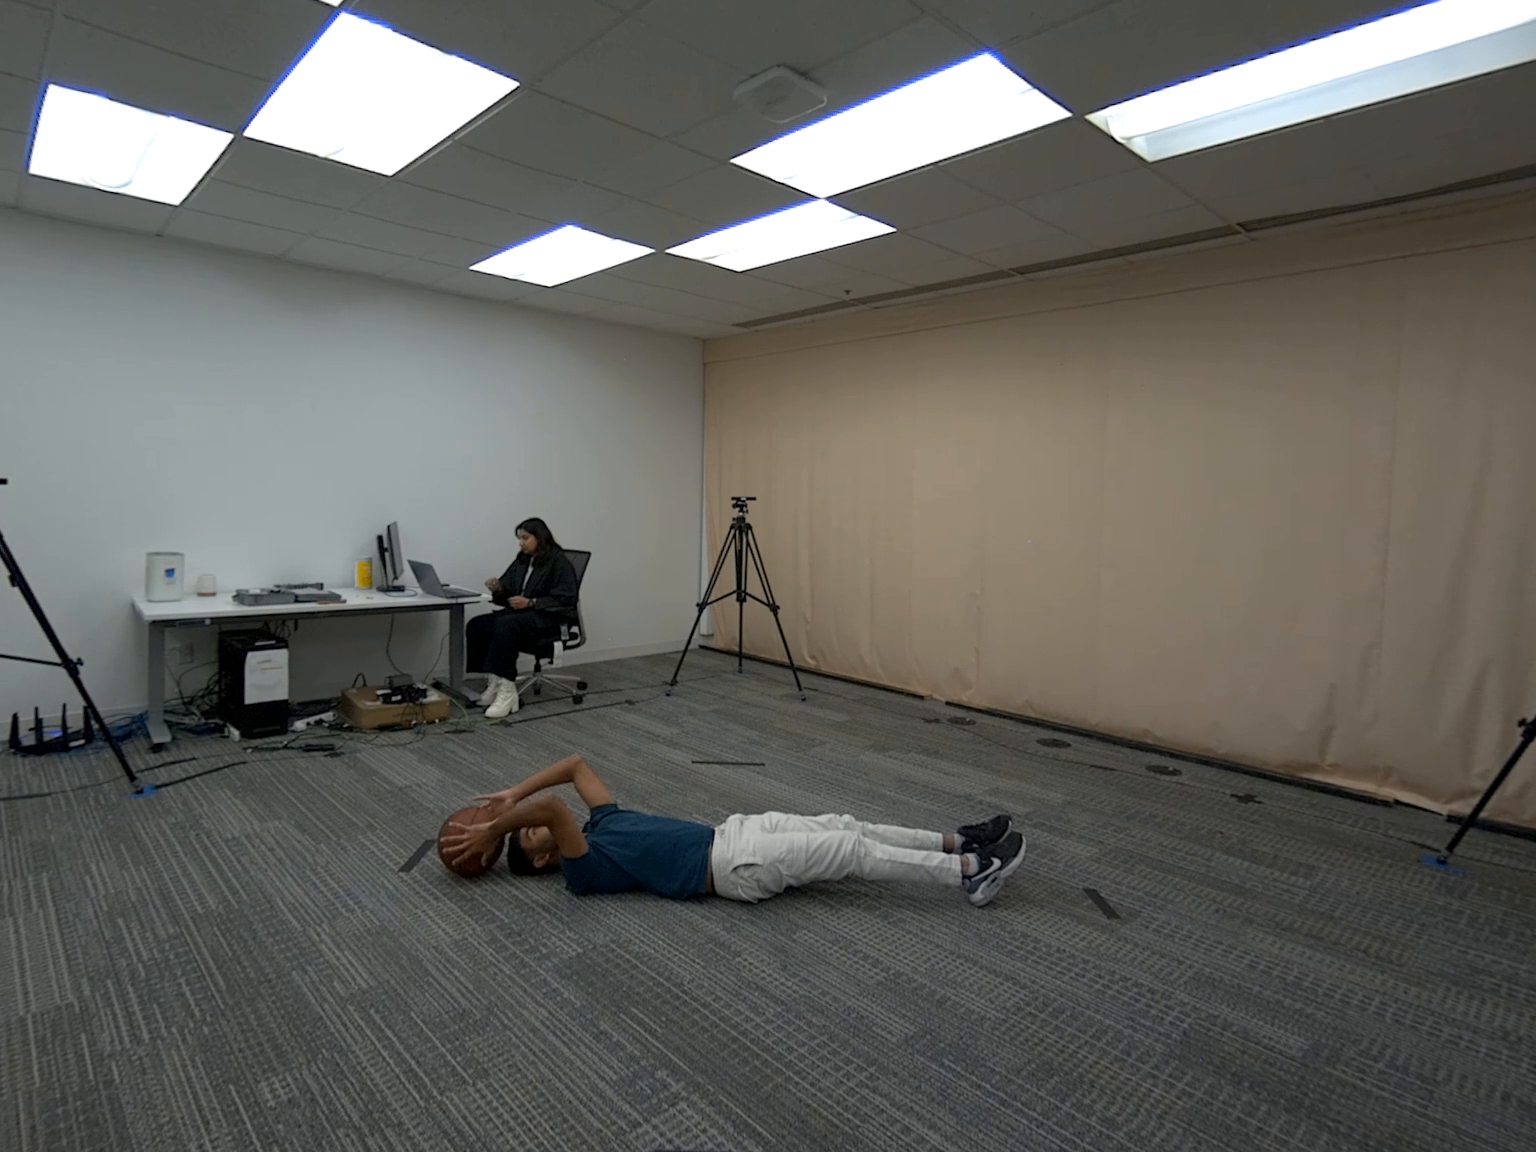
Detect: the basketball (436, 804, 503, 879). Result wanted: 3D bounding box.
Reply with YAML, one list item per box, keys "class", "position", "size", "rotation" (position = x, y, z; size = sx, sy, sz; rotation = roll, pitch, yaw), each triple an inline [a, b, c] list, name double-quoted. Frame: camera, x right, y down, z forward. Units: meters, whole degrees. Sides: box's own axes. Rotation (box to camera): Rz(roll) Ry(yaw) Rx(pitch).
- class: "basketball"
  position: [-1.093, 0.969, 3.071]
  size: [0.236, 0.235, 0.237]
  rotation: [1, 4, -1]
